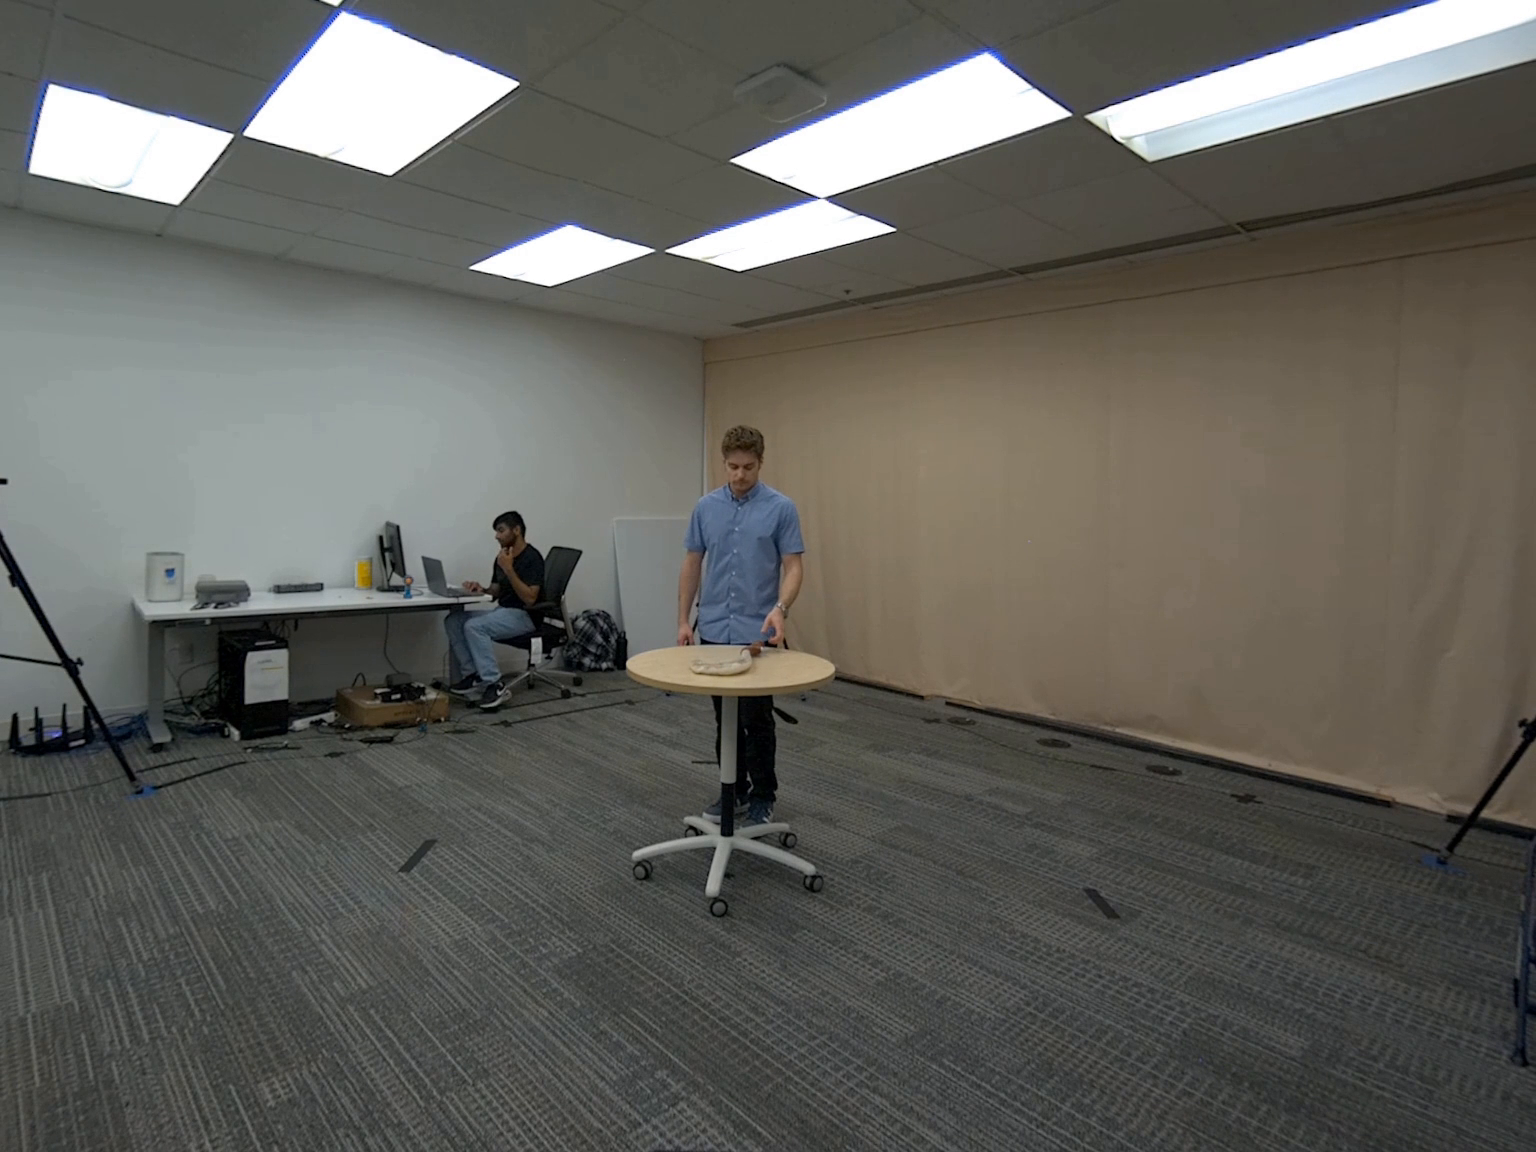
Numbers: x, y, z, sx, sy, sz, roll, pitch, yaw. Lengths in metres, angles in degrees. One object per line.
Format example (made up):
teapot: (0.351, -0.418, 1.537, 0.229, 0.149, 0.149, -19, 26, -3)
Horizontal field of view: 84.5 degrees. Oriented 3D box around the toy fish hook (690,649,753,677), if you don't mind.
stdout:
toy fish hook: (-0.147, 0.297, 3.122, 0.227, 0.048, 0.503, 7, 7, 12)
